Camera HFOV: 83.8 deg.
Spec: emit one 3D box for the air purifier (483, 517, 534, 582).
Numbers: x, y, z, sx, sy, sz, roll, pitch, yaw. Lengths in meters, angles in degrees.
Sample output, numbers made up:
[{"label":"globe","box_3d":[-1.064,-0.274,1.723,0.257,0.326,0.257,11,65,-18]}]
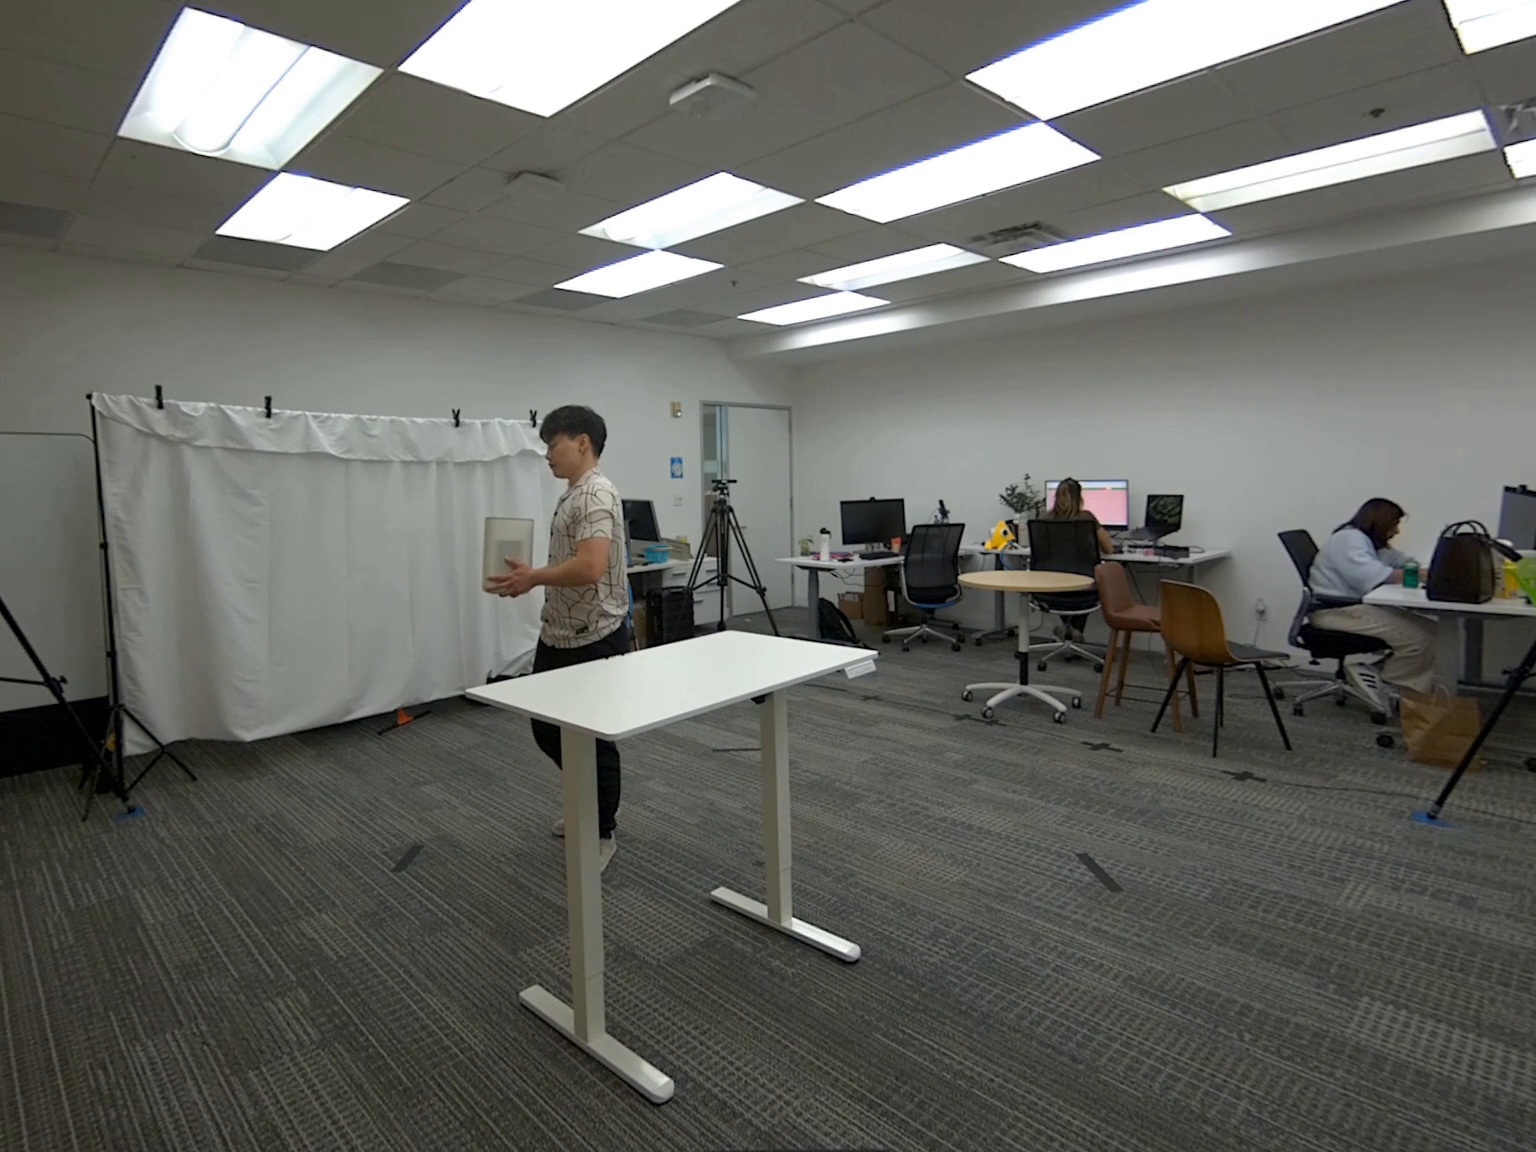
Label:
[{"label":"air purifier","box_3d":[-0.928,-0.075,3.043,0.168,0.265,0.174,3,0,-19]}]
